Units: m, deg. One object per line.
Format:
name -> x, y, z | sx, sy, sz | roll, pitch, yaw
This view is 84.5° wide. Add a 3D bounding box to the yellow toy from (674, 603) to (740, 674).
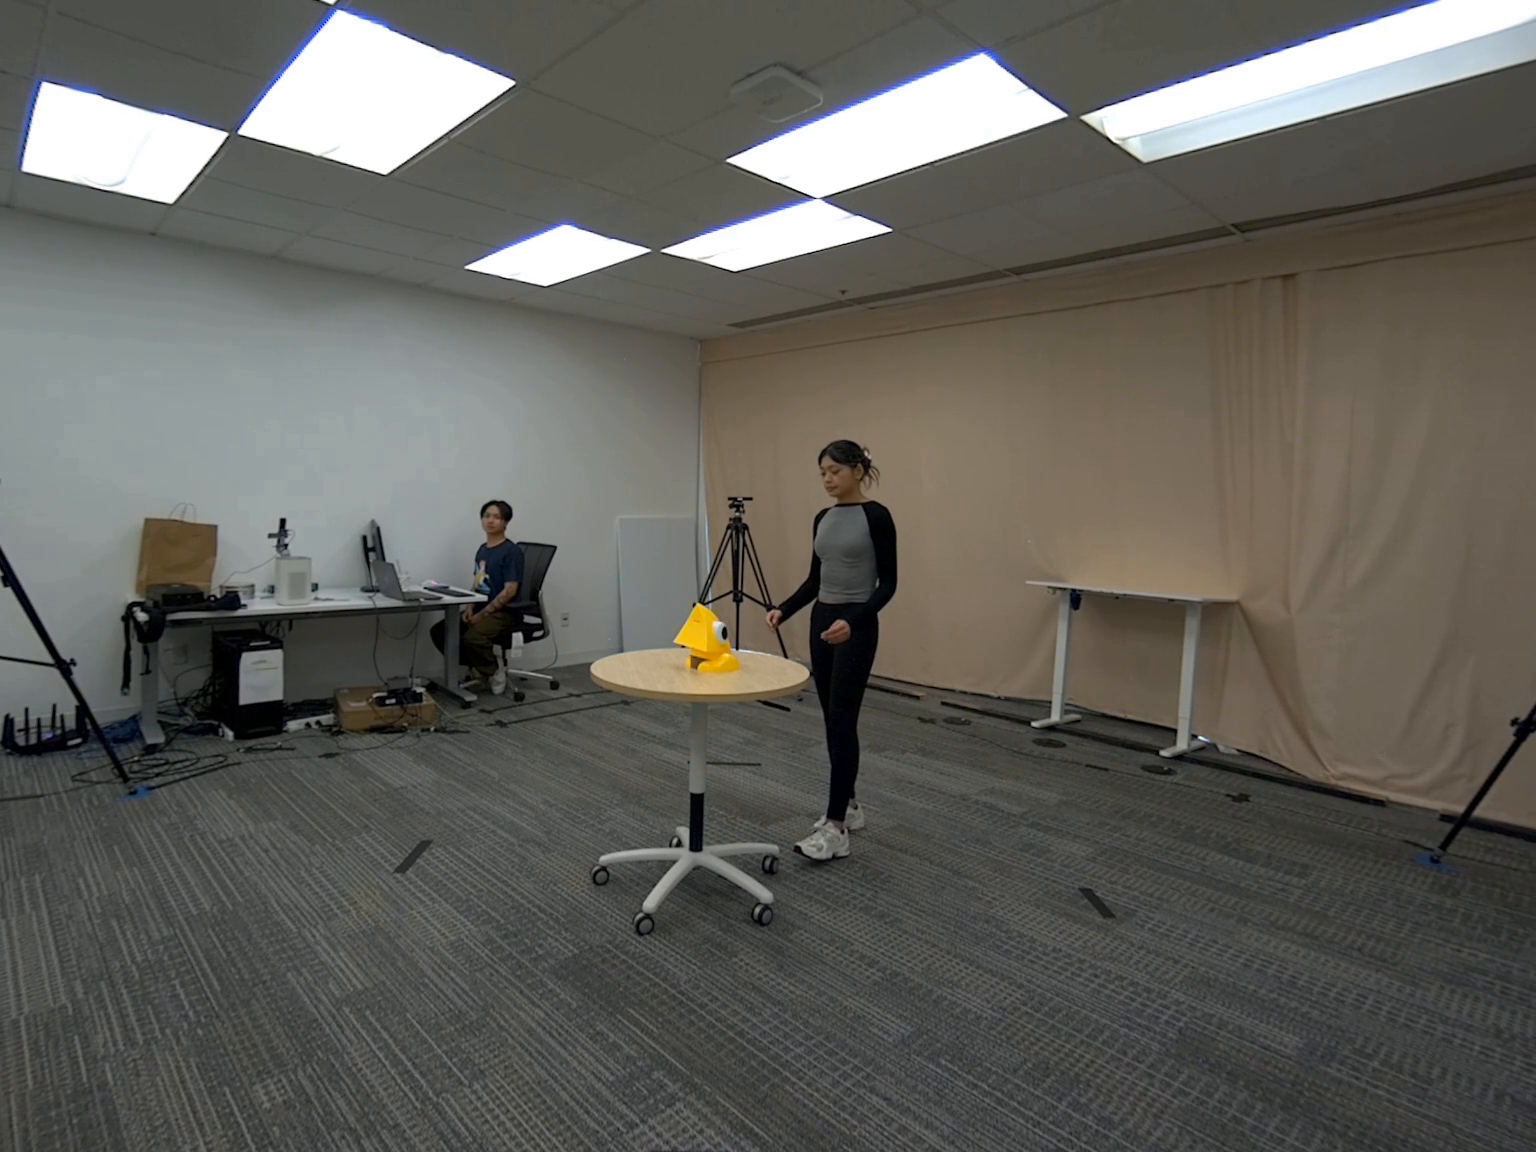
yellow toy -> -0.206, 0.211, 2.982 | 0.188, 0.230, 0.210 | 0, 5, -38
